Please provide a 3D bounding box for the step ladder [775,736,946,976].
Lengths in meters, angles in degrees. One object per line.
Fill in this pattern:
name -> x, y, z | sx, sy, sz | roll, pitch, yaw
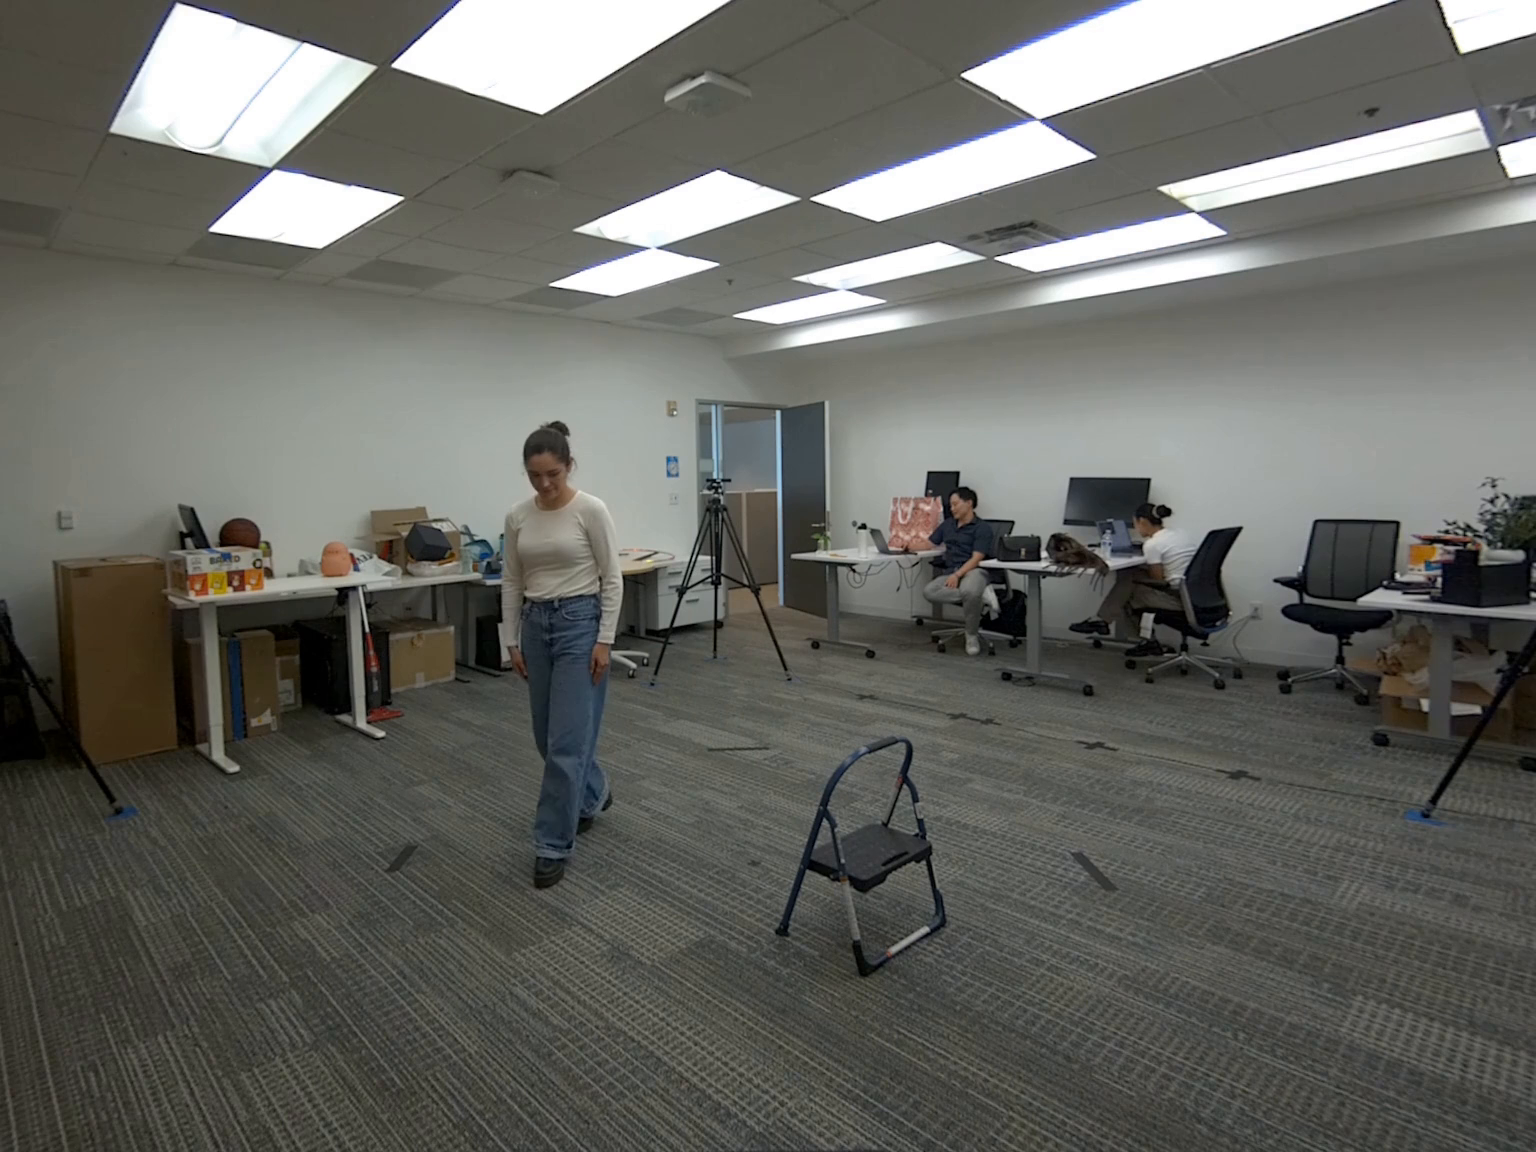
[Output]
step ladder -> 0.290, 0.791, 2.626 | 0.360, 0.604, 0.419 | 4, 7, 45
